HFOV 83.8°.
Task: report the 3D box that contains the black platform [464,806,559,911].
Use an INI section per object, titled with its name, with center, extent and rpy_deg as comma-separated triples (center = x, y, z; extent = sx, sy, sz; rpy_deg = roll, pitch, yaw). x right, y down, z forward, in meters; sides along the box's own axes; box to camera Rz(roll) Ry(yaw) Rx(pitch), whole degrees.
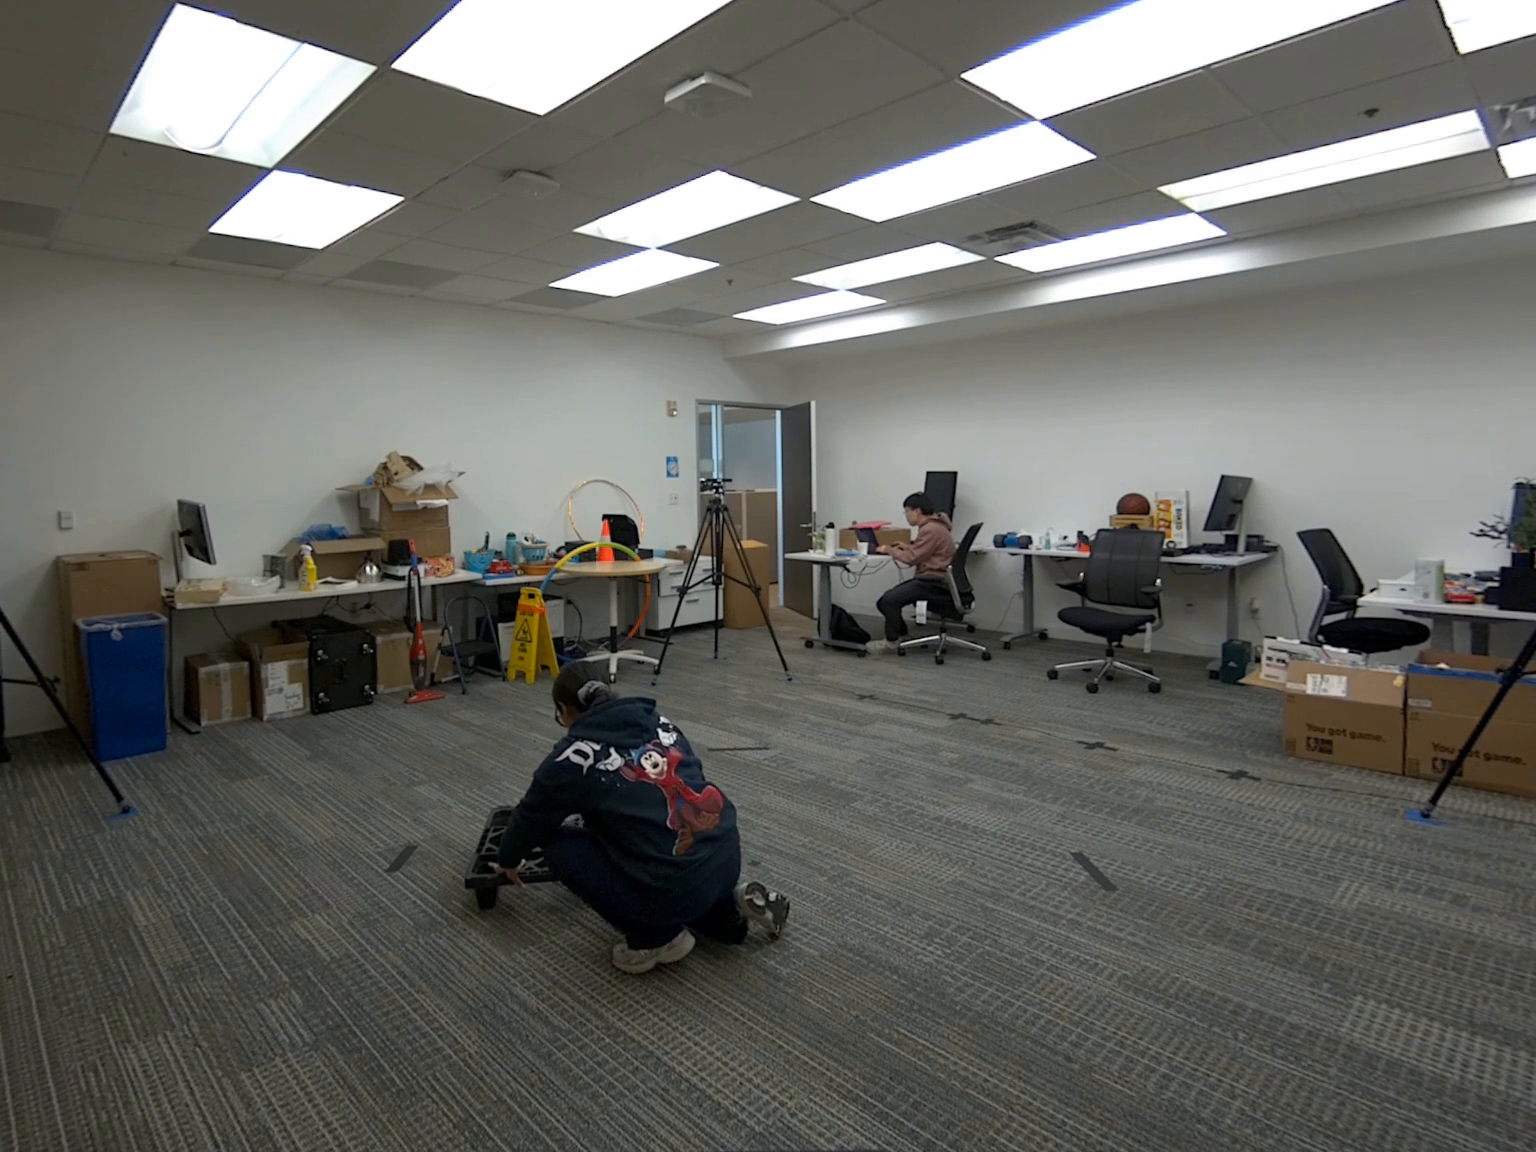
[black platform]
center = -0.623, 0.990, 3.081
extent = 0.801, 0.142, 0.612
rpy_deg = -2, 7, -7
